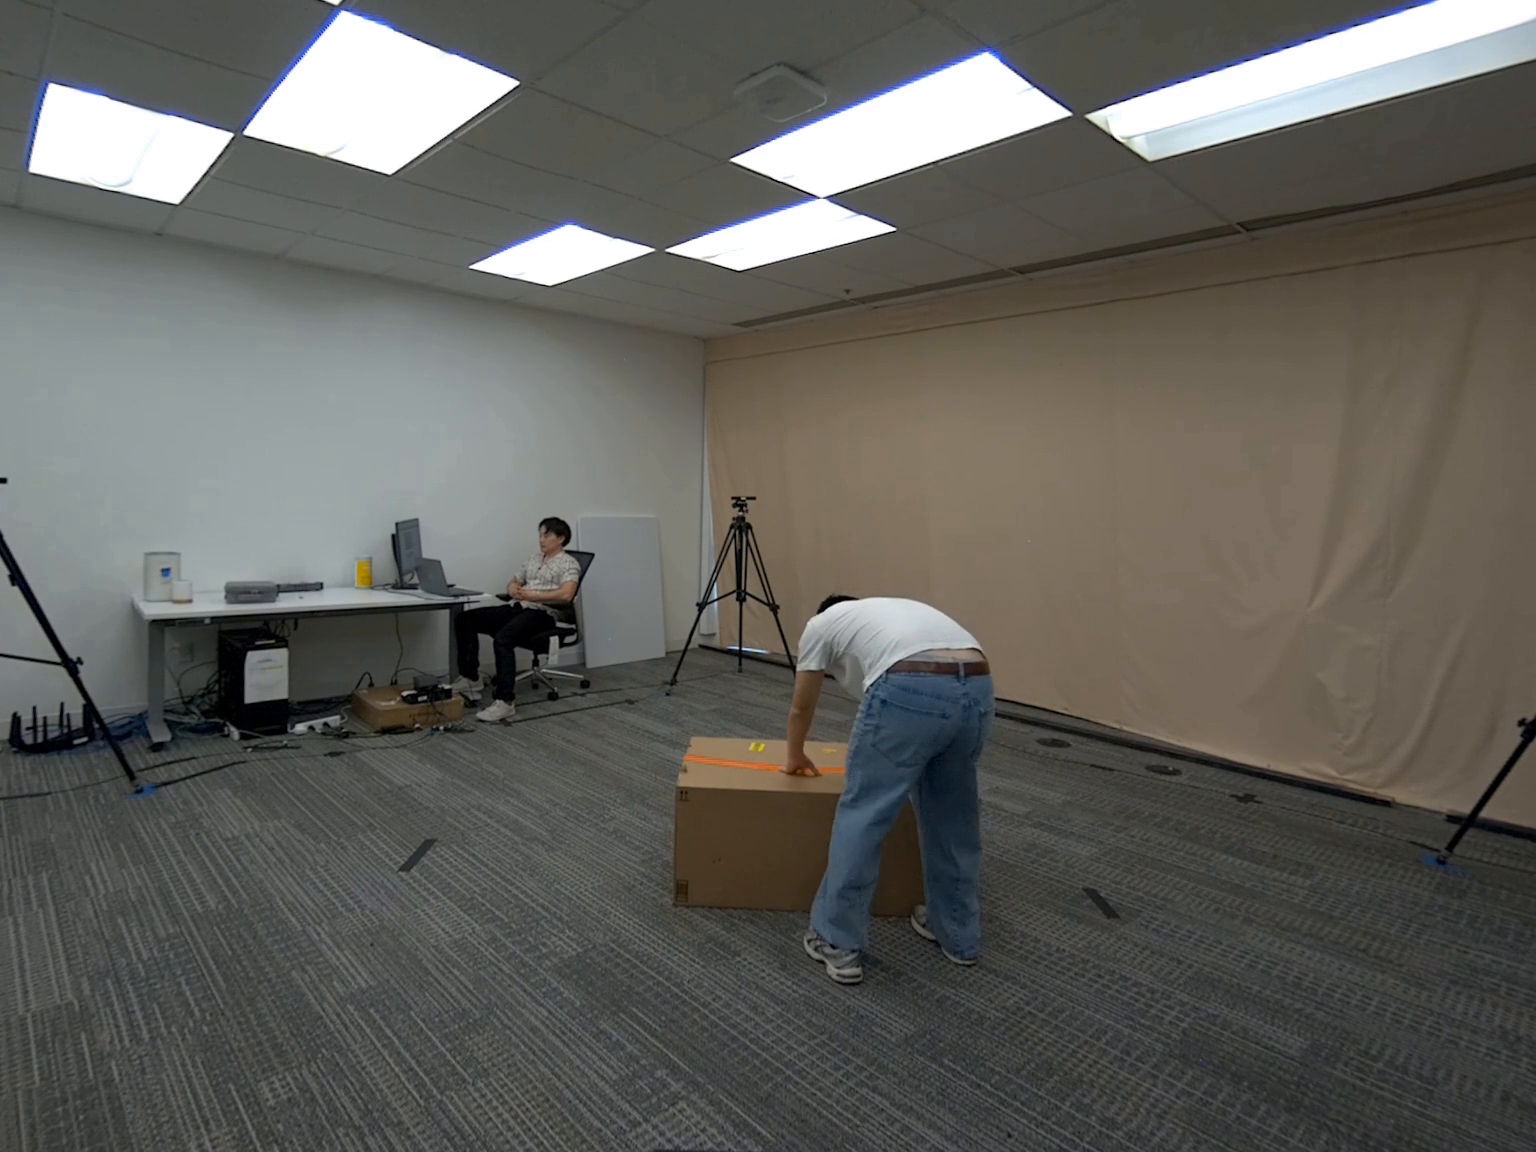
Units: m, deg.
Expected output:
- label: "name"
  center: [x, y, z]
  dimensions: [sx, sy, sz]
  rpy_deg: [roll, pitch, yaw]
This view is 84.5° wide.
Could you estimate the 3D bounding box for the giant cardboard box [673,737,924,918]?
- label: "giant cardboard box"
  center: [0.188, 0.899, 3.100]
  dimensions: [1.028, 0.425, 0.578]
  rpy_deg: [2, 4, 2]
